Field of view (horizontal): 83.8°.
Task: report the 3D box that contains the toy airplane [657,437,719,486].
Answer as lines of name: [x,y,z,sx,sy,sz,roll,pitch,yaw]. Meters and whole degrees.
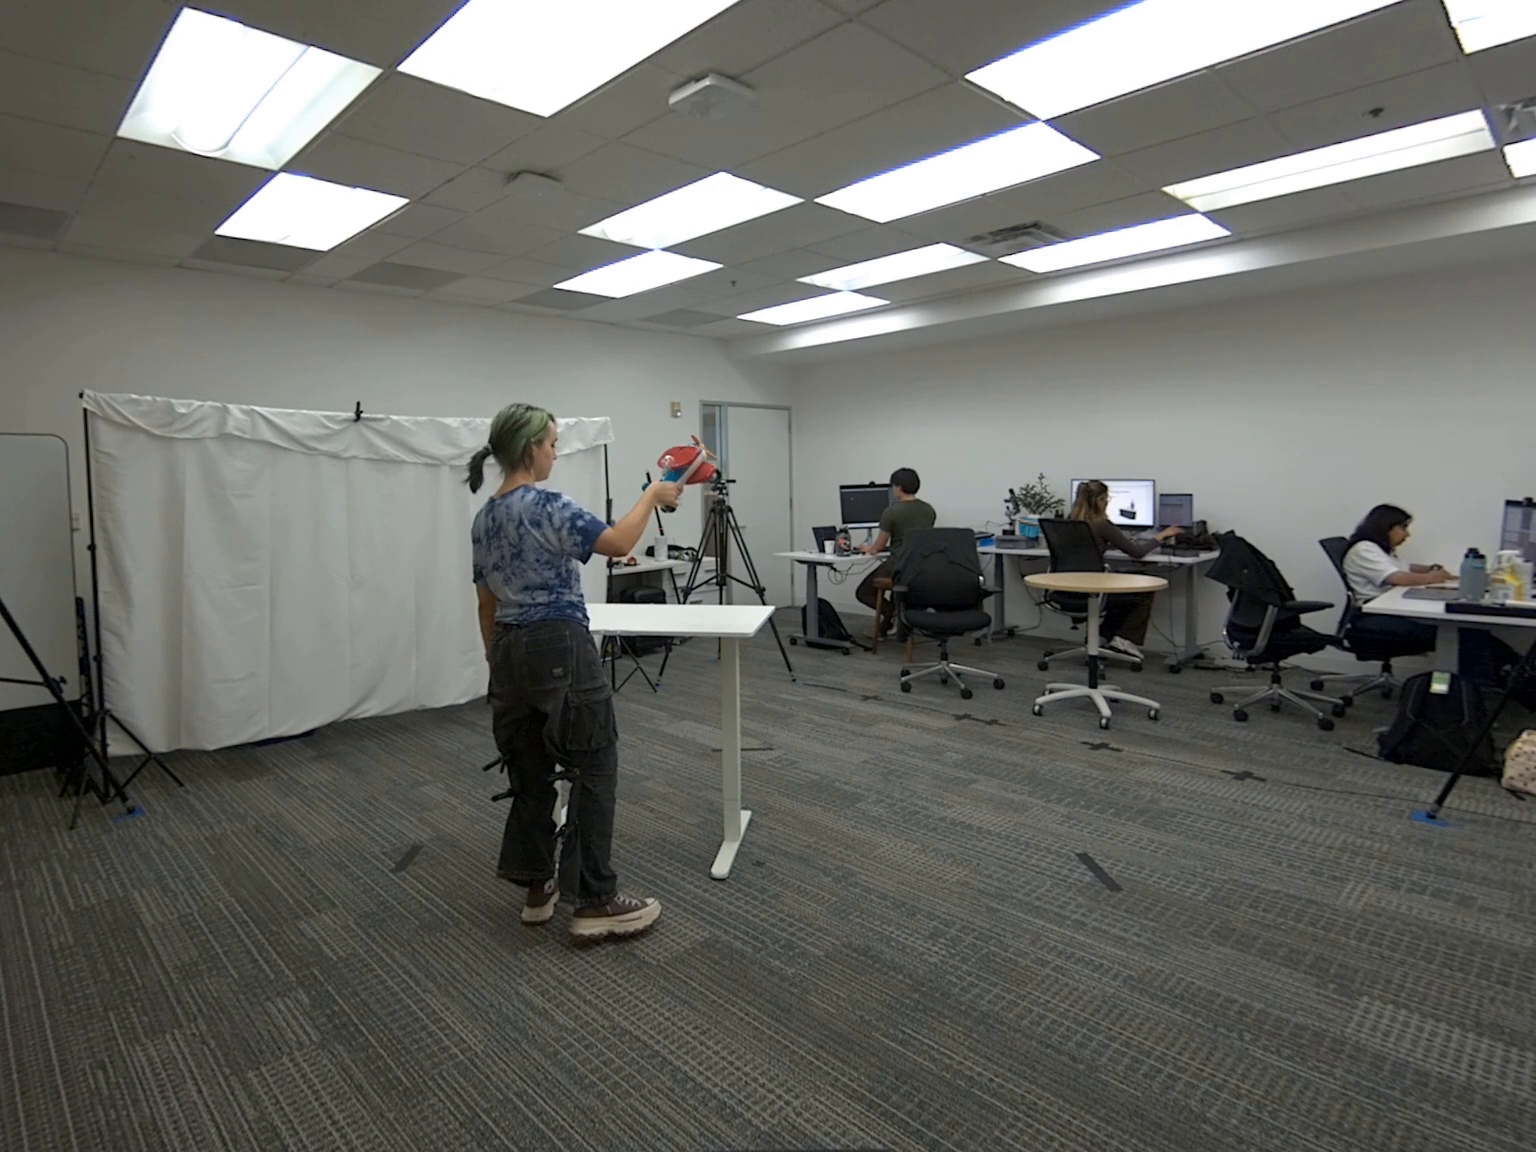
toy airplane: [-0.274,-0.326,2.790,0.256,0.152,0.260,-13,27,37]
